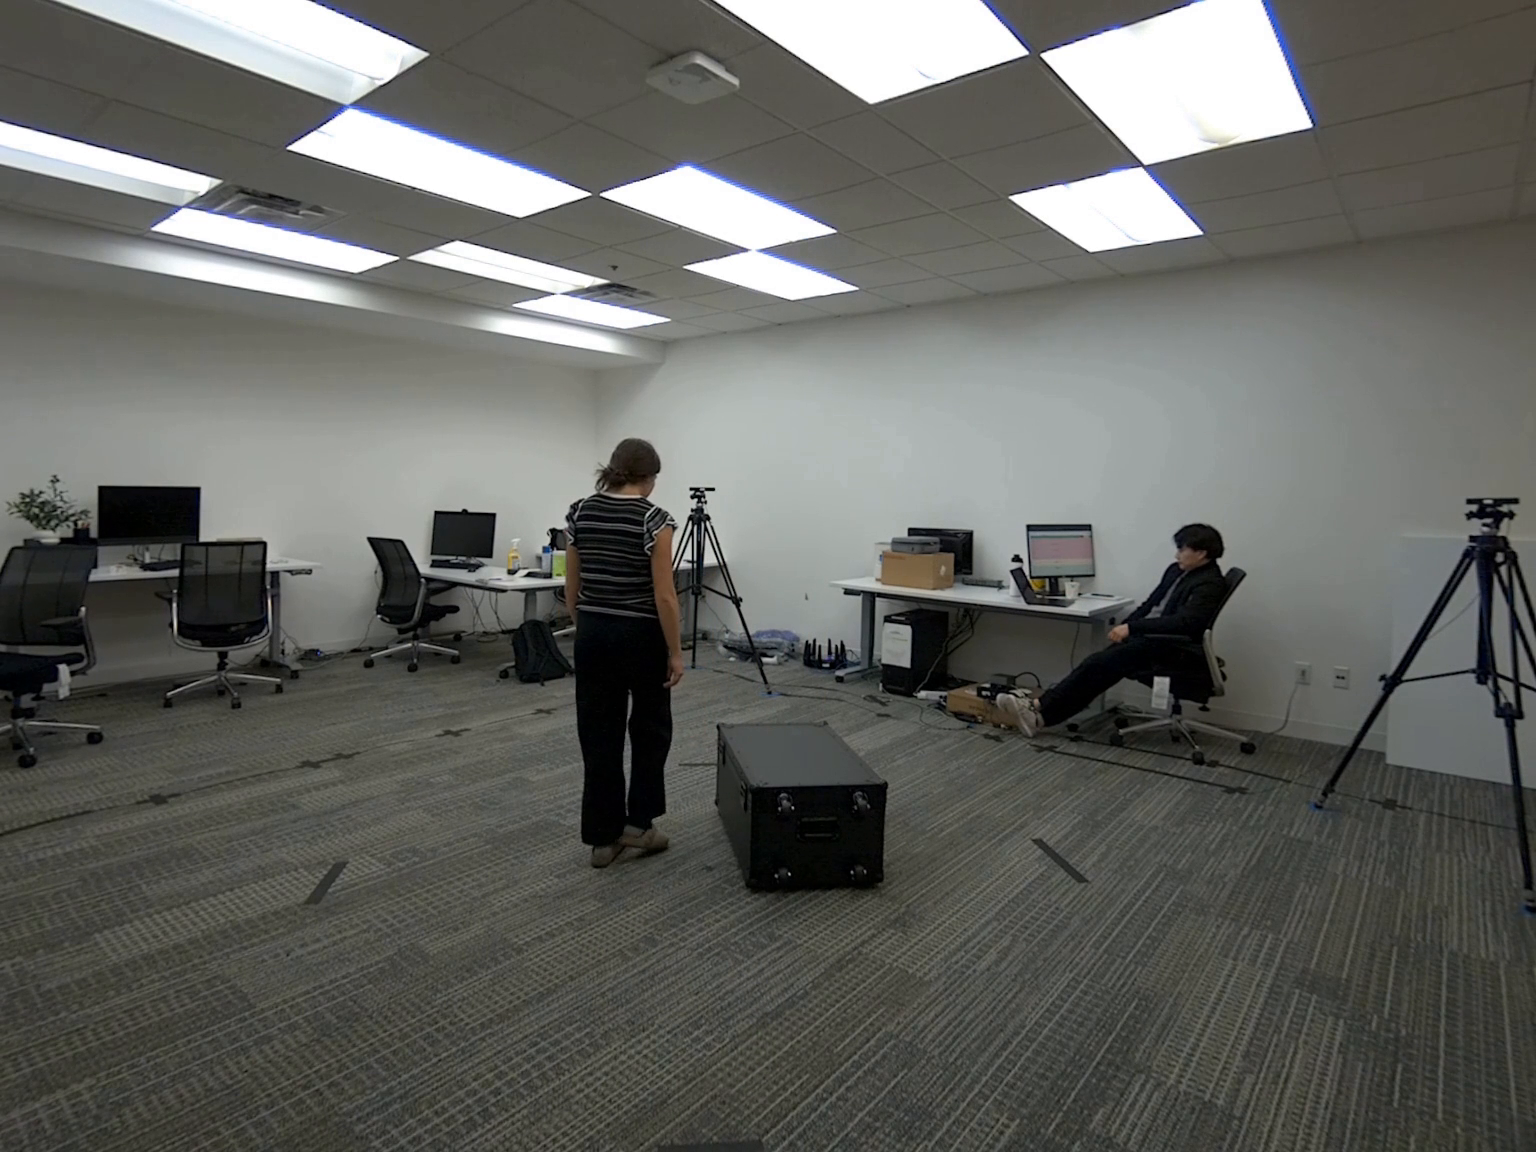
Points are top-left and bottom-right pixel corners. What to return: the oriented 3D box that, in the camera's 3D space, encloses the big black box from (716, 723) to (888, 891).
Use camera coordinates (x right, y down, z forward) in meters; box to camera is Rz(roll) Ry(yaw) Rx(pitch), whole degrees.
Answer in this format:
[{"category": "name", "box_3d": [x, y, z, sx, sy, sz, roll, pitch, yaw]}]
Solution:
[{"category": "big black box", "box_3d": [0.089, 0.861, 3.286, 0.515, 0.395, 0.874, 0, 5, -11]}]
